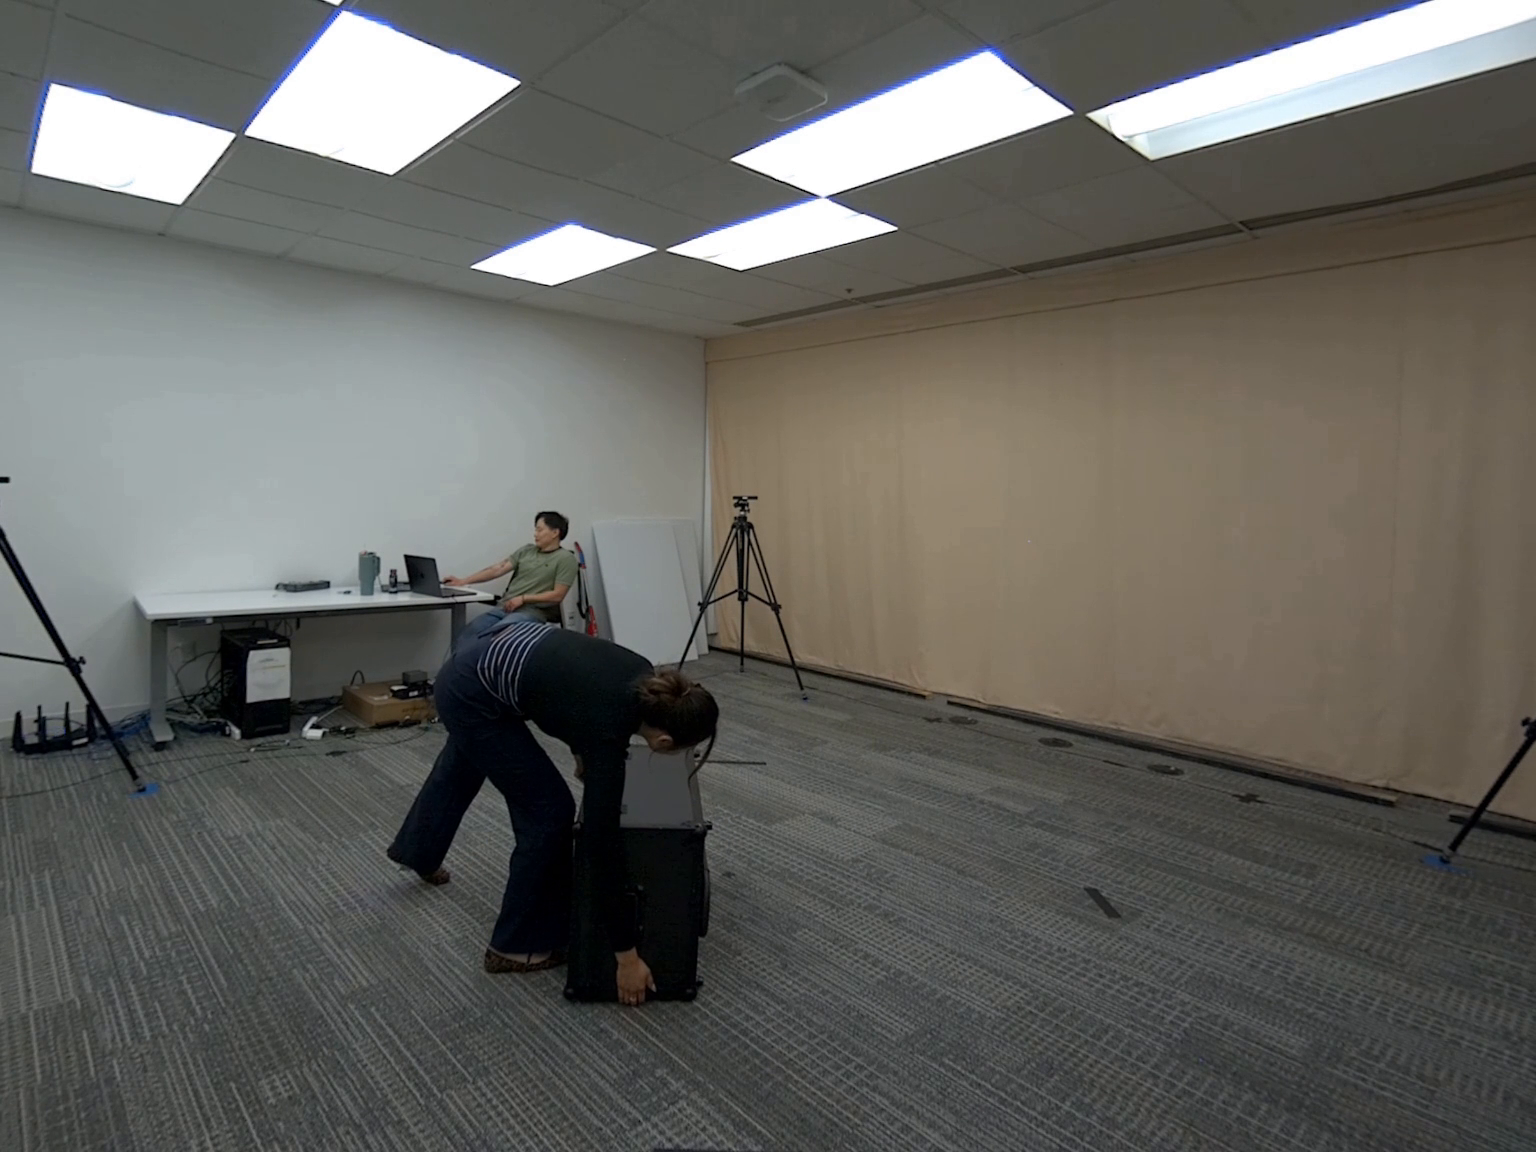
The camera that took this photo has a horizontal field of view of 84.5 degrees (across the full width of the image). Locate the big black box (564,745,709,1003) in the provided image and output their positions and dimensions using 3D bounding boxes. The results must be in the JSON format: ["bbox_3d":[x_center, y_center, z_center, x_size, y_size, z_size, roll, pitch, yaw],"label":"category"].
[{"bbox_3d":[-0.405,0.877,2.708,0.393,0.520,0.869,4,5,-9],"label":"big black box"}]
